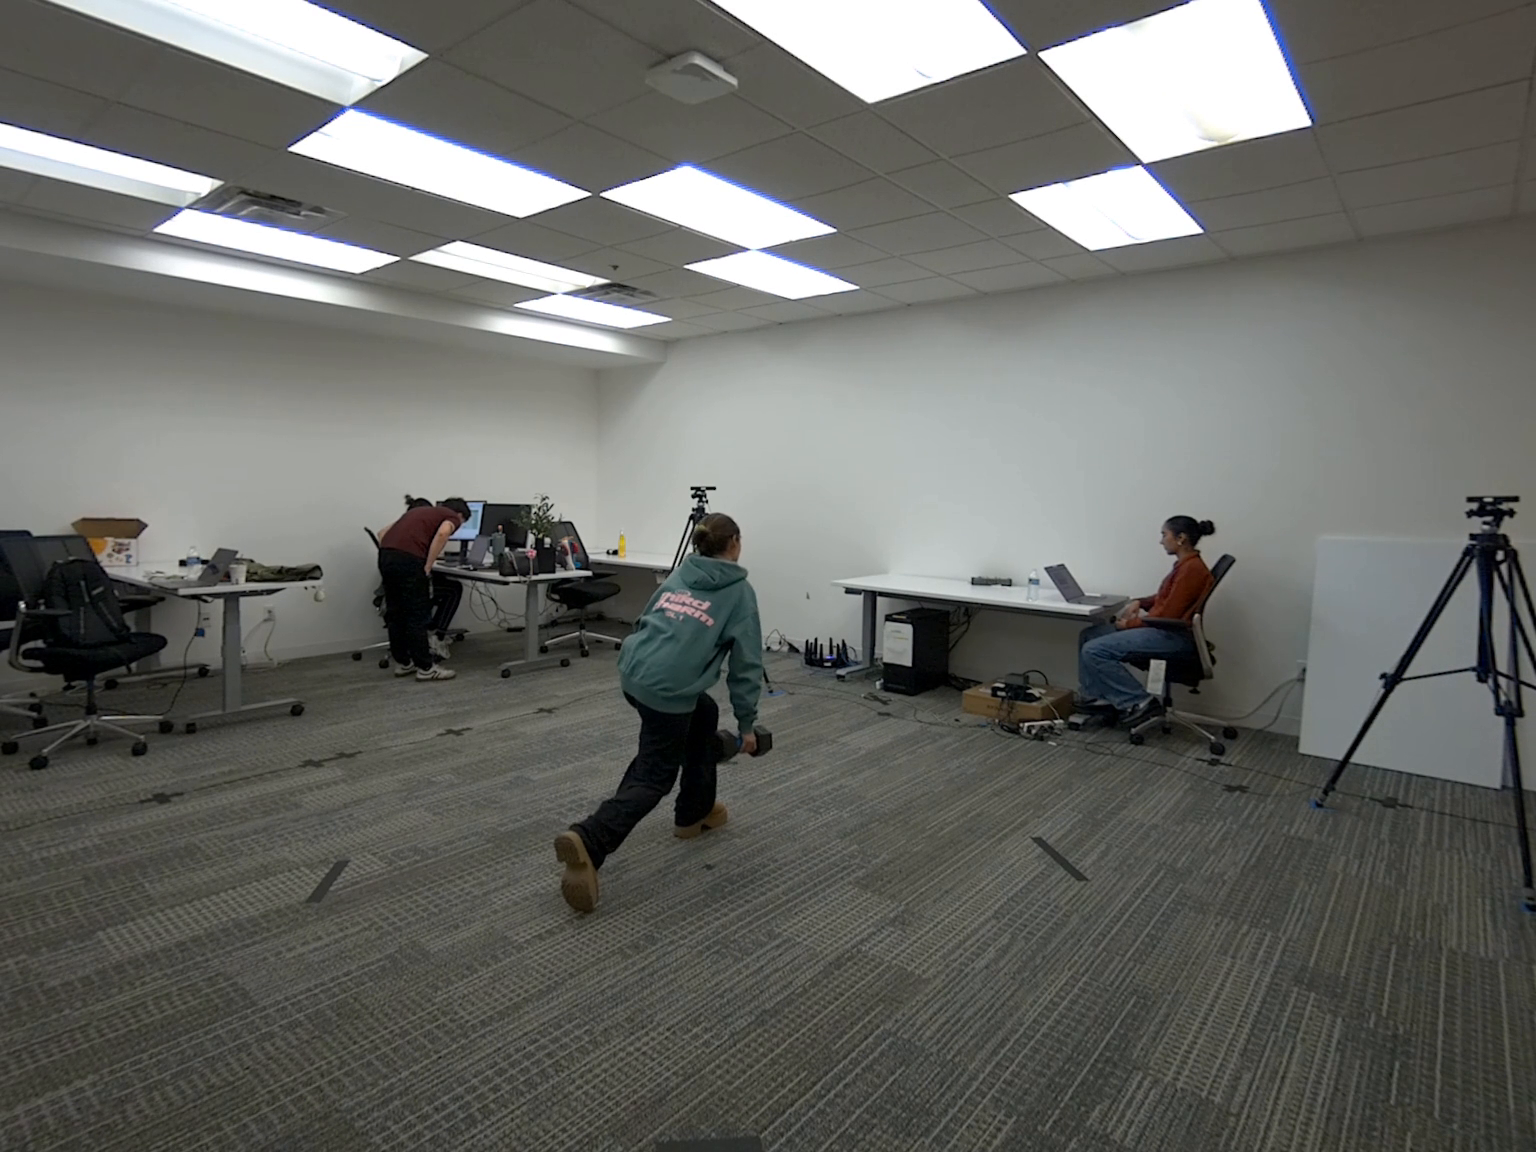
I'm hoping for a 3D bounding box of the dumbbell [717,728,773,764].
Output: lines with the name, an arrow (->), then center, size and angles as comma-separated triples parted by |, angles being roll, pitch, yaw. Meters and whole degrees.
dumbbell -> -0.119, 0.649, 3.318 | 0.283, 0.112, 0.123 | 5, -39, -49
